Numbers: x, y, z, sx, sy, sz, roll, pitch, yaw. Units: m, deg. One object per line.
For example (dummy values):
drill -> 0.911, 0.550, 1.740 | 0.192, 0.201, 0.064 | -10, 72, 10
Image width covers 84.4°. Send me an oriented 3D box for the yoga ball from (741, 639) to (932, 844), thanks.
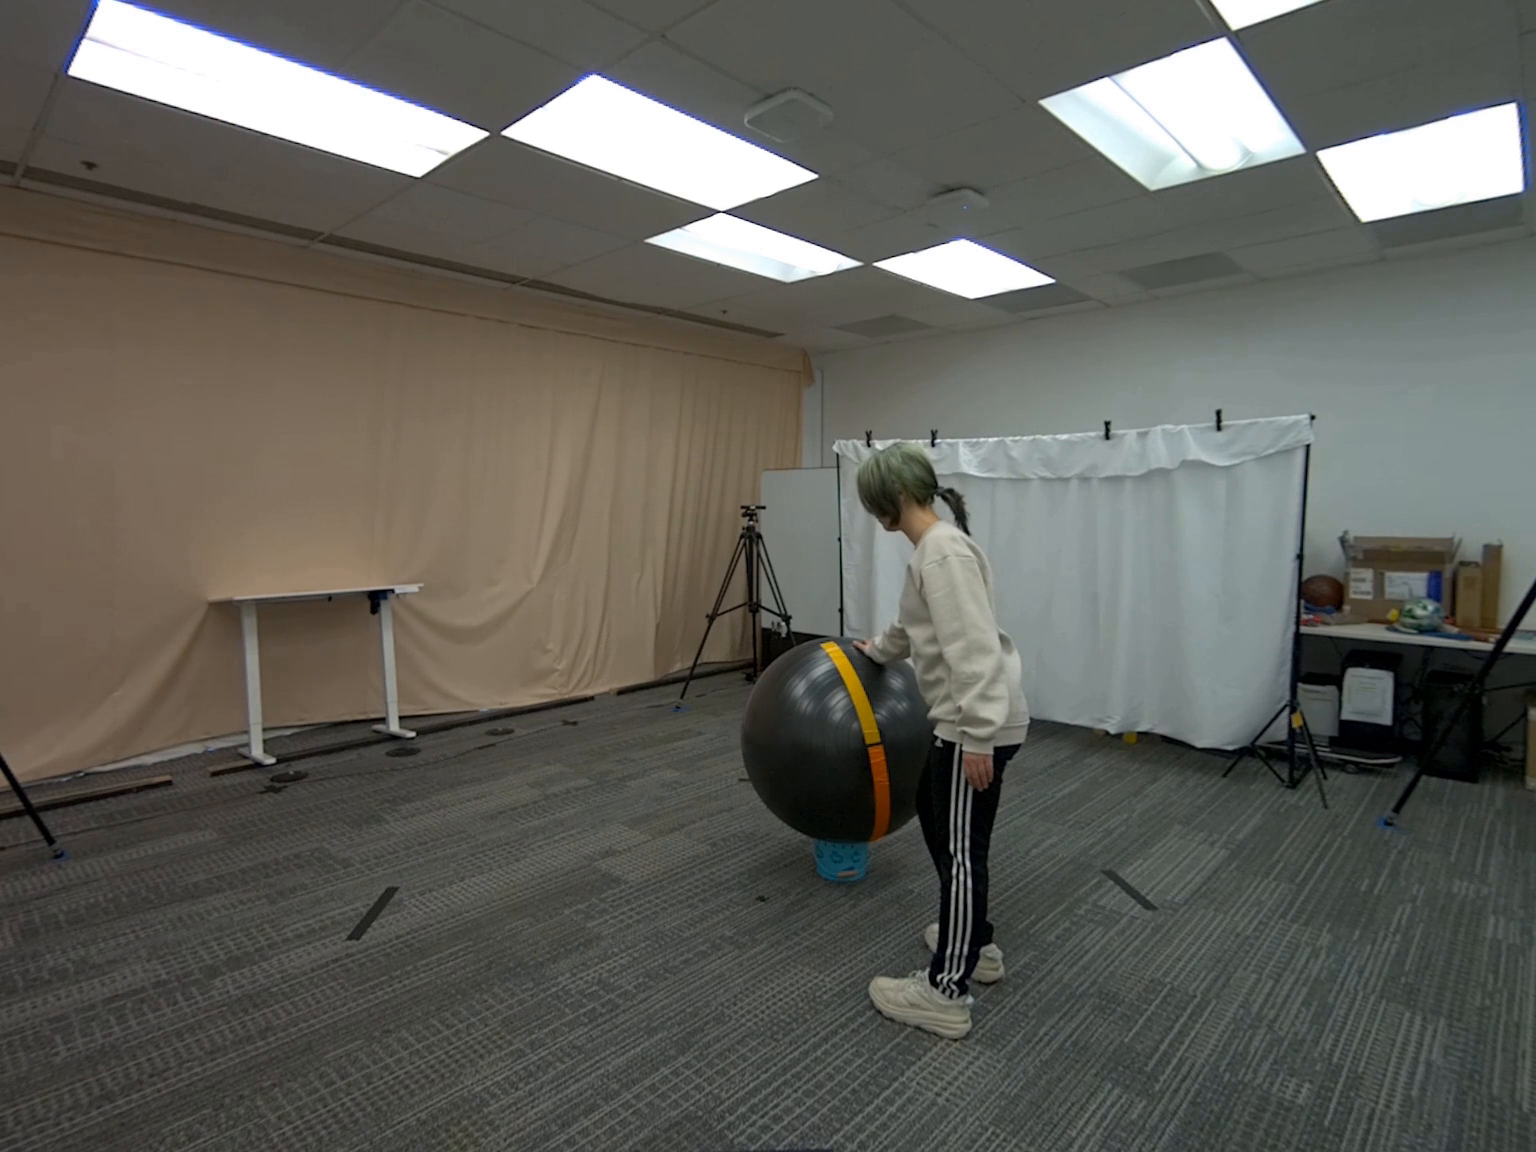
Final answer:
yoga ball -> 0.278, 0.616, 3.180 | 0.757, 0.756, 0.760 | 0, 4, -2
